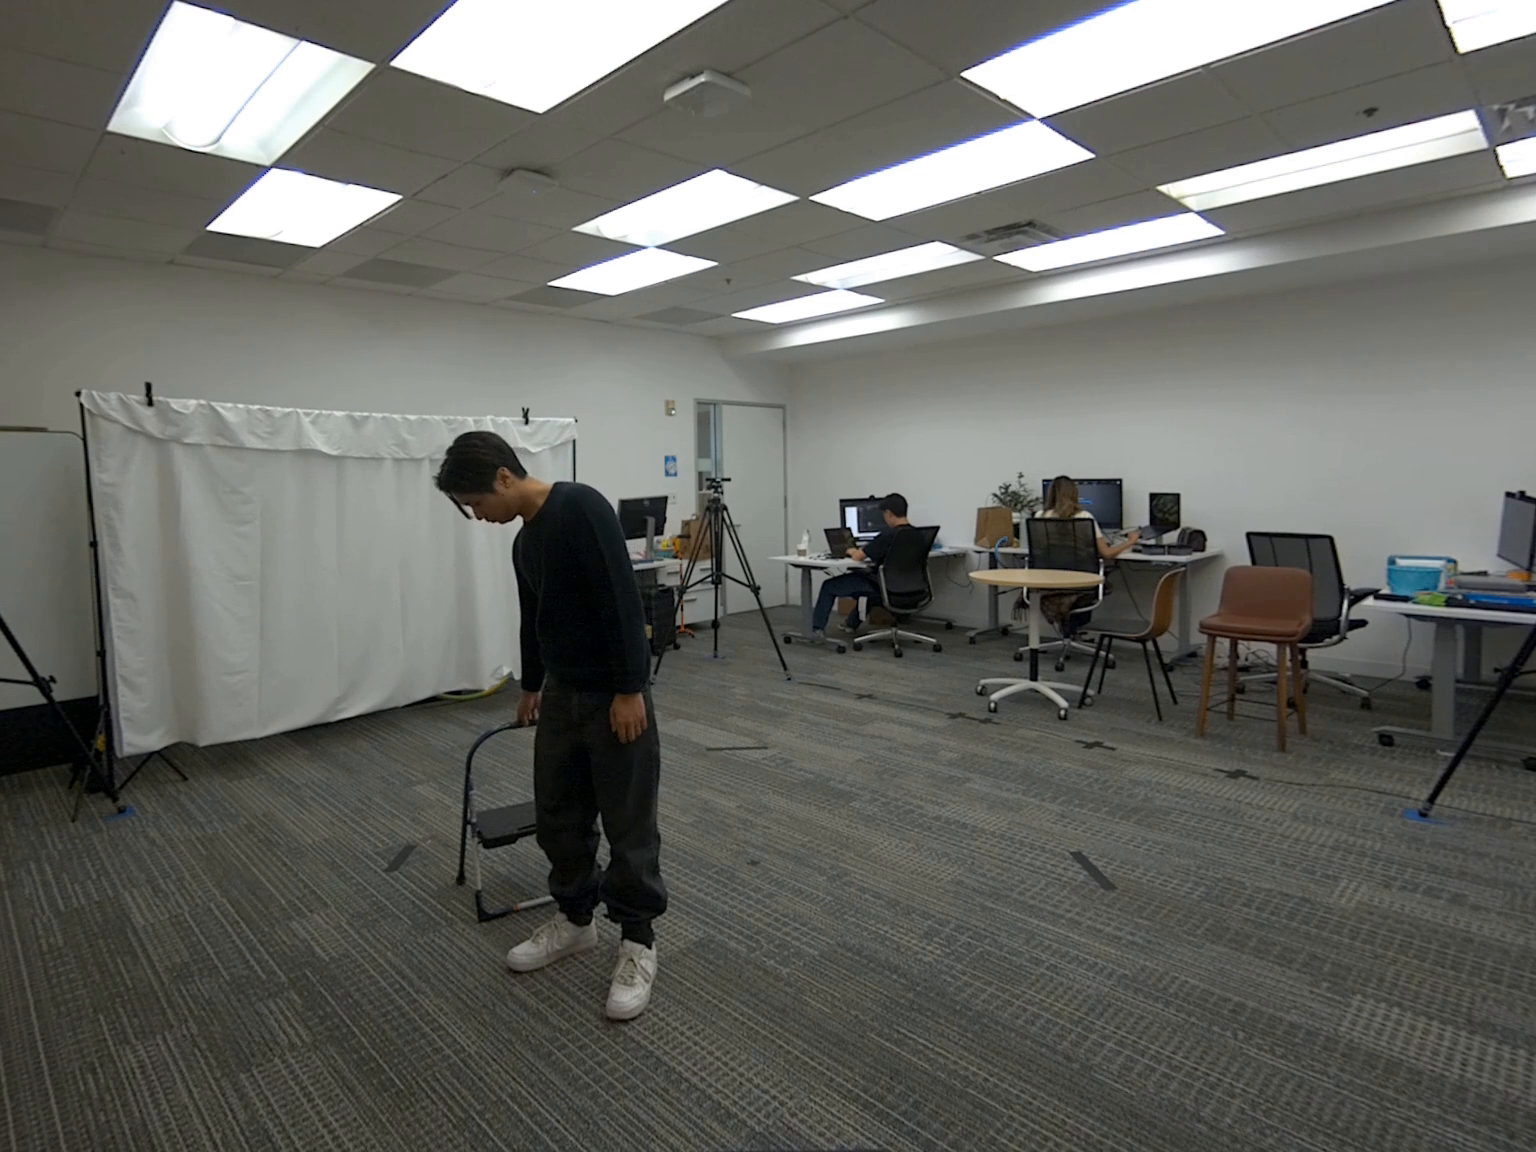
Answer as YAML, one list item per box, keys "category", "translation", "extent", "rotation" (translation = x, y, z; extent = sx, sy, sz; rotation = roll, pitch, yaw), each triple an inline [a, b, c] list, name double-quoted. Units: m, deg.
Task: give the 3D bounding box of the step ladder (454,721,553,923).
- category: "step ladder"
  translation: [-0.827, 0.769, 2.927]
  extent: [0.421, 0.603, 0.359]
  rotation: [-4, 7, -30]
